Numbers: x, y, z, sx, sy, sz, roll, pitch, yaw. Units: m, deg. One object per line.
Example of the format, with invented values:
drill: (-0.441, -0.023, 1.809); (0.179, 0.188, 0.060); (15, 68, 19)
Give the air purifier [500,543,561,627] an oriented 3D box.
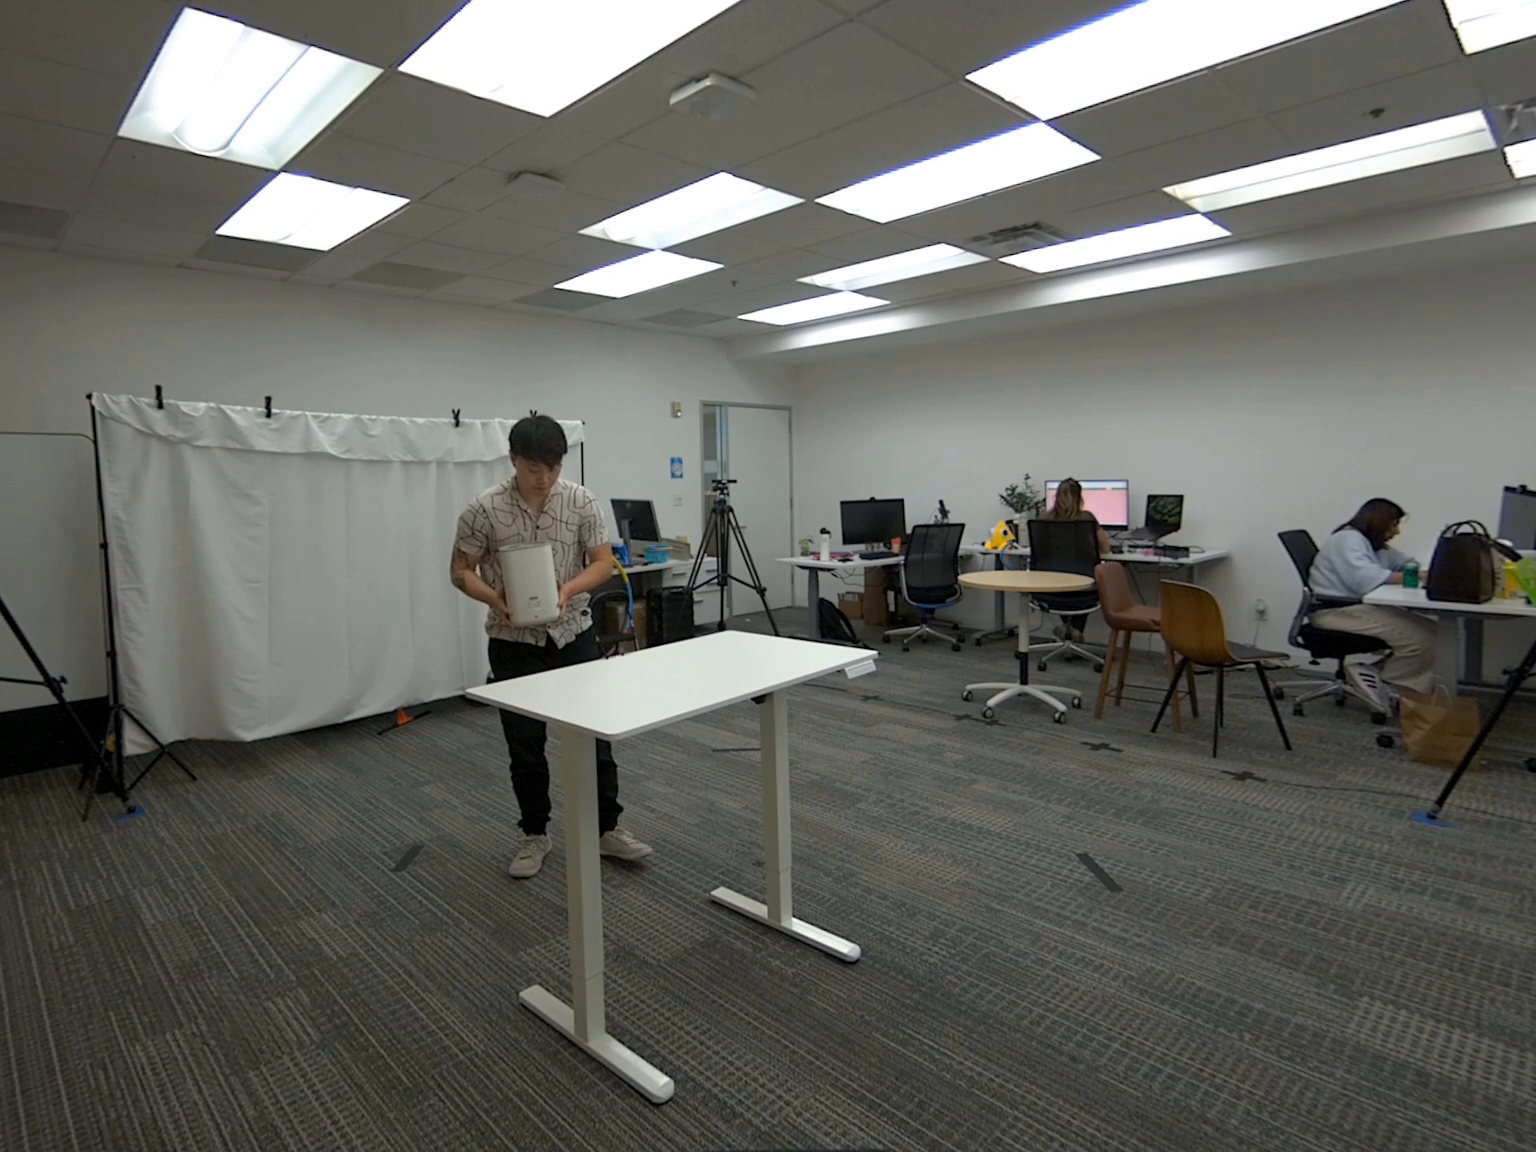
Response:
air purifier: (-0.810, 0.029, 2.869); (0.168, 0.264, 0.175); (-9, 7, -19)
